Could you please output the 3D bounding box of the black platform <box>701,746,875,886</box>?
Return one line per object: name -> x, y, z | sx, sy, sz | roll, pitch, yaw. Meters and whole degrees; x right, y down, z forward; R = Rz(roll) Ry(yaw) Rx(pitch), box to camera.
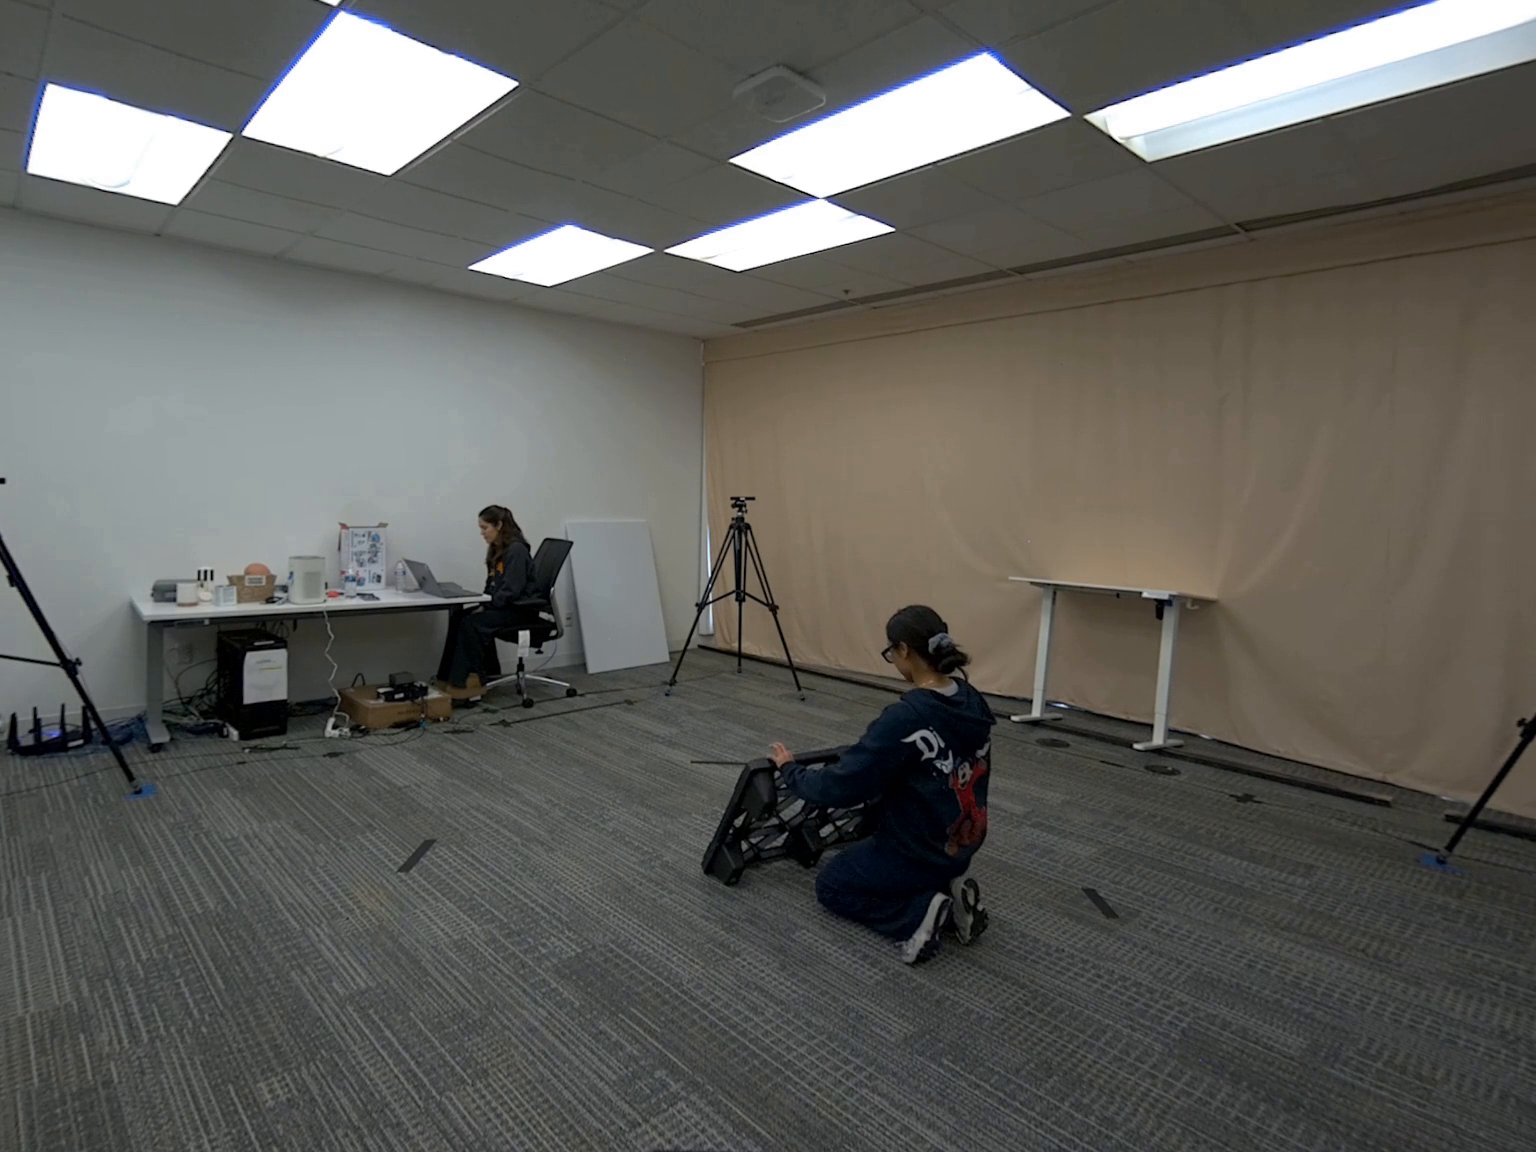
black platform -> 0.195, 0.879, 3.119 | 0.789, 0.598, 0.148 | -1, 37, -30
